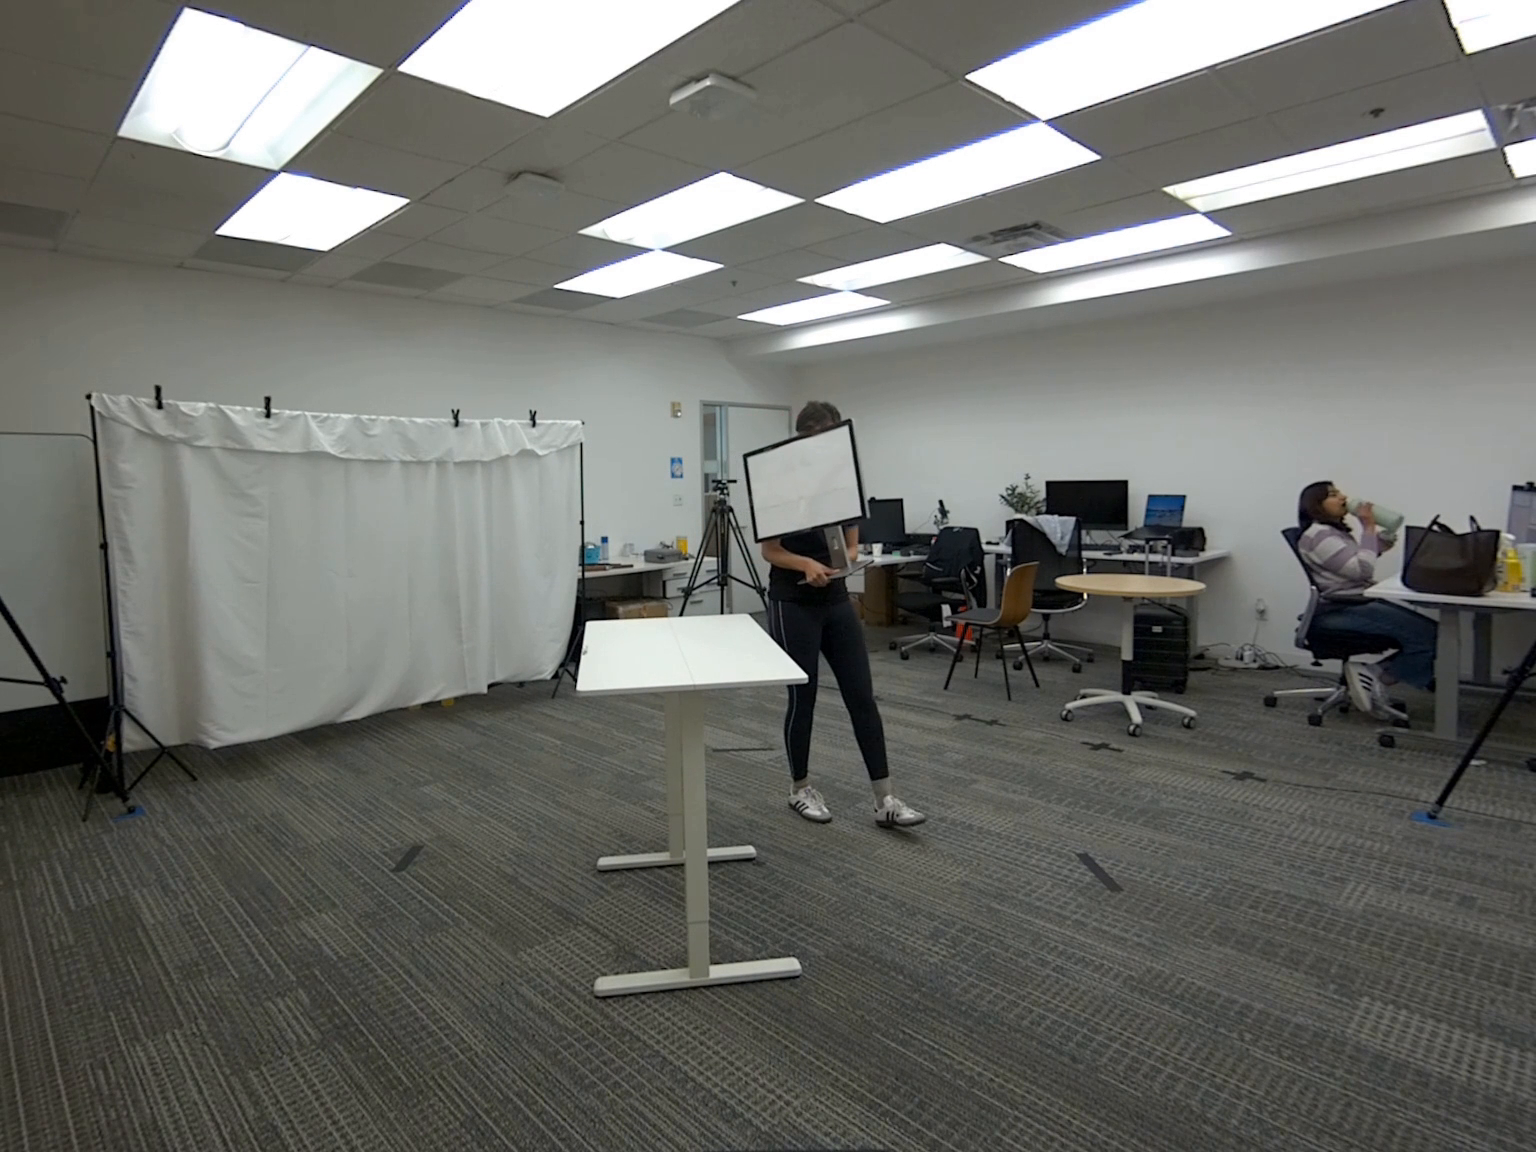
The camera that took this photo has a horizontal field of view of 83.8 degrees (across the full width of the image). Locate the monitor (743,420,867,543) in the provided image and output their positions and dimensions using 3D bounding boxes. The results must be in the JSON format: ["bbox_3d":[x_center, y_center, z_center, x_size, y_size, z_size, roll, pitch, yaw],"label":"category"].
[{"bbox_3d":[0.176,-0.266,3.227,0.551,0.521,0.184,-13,5,44],"label":"monitor"}]
